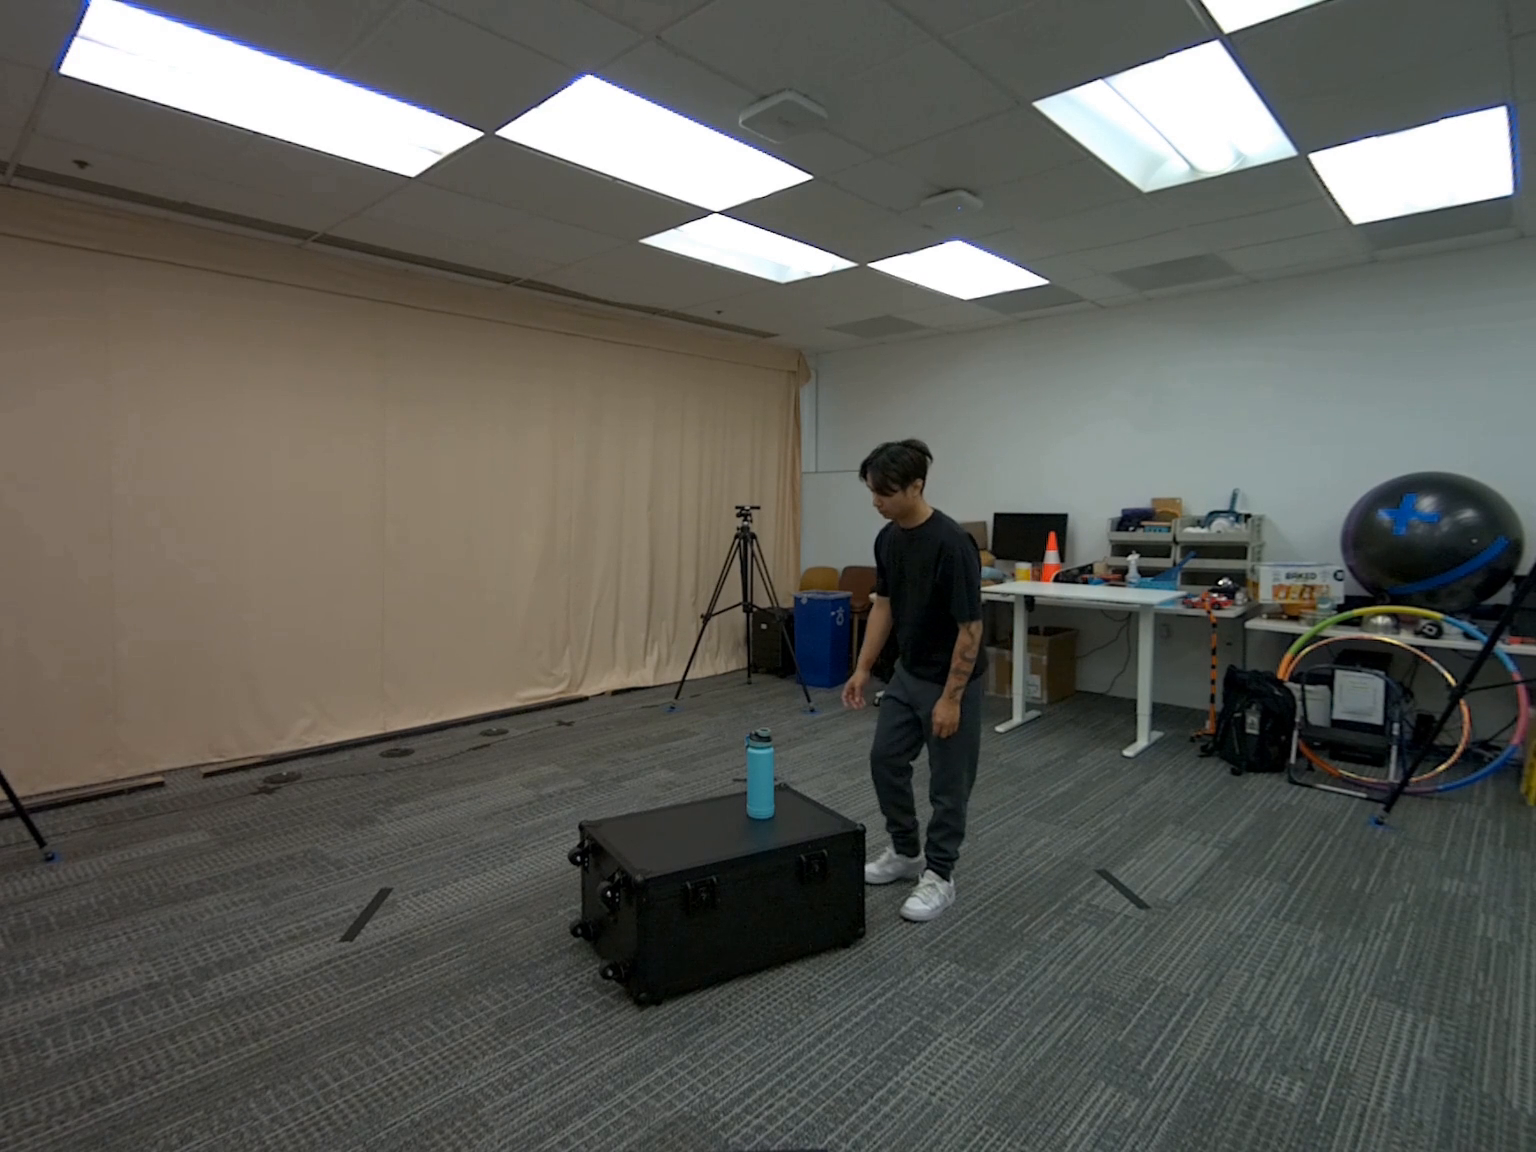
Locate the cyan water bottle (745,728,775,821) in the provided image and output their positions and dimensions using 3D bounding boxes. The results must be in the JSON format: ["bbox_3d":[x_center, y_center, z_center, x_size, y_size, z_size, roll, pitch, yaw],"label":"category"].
[{"bbox_3d":[-0.024,0.647,2.775,0.092,0.283,0.092,-1,2,-2],"label":"cyan water bottle"}]
